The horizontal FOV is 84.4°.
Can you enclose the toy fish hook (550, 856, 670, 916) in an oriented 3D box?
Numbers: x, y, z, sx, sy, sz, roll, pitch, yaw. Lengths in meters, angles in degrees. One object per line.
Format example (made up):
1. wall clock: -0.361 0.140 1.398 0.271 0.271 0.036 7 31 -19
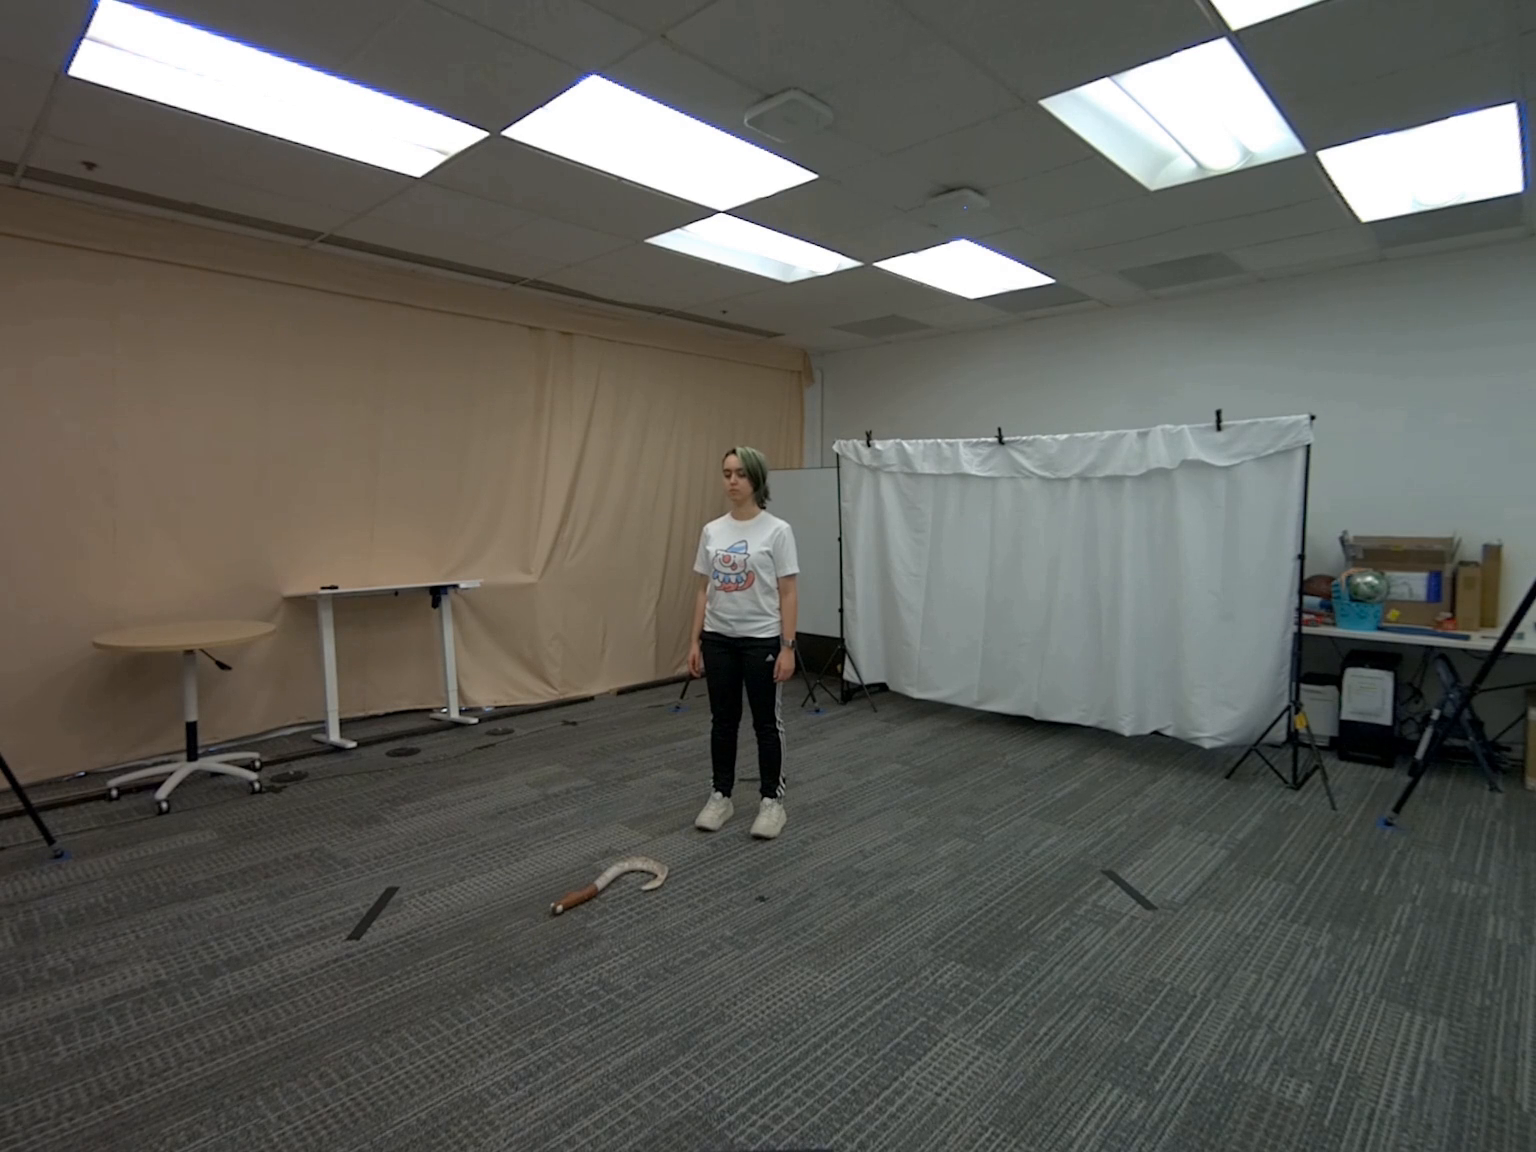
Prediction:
1. toy fish hook: -0.555 1.122 3.035 0.231 0.048 0.492 0 4 33
